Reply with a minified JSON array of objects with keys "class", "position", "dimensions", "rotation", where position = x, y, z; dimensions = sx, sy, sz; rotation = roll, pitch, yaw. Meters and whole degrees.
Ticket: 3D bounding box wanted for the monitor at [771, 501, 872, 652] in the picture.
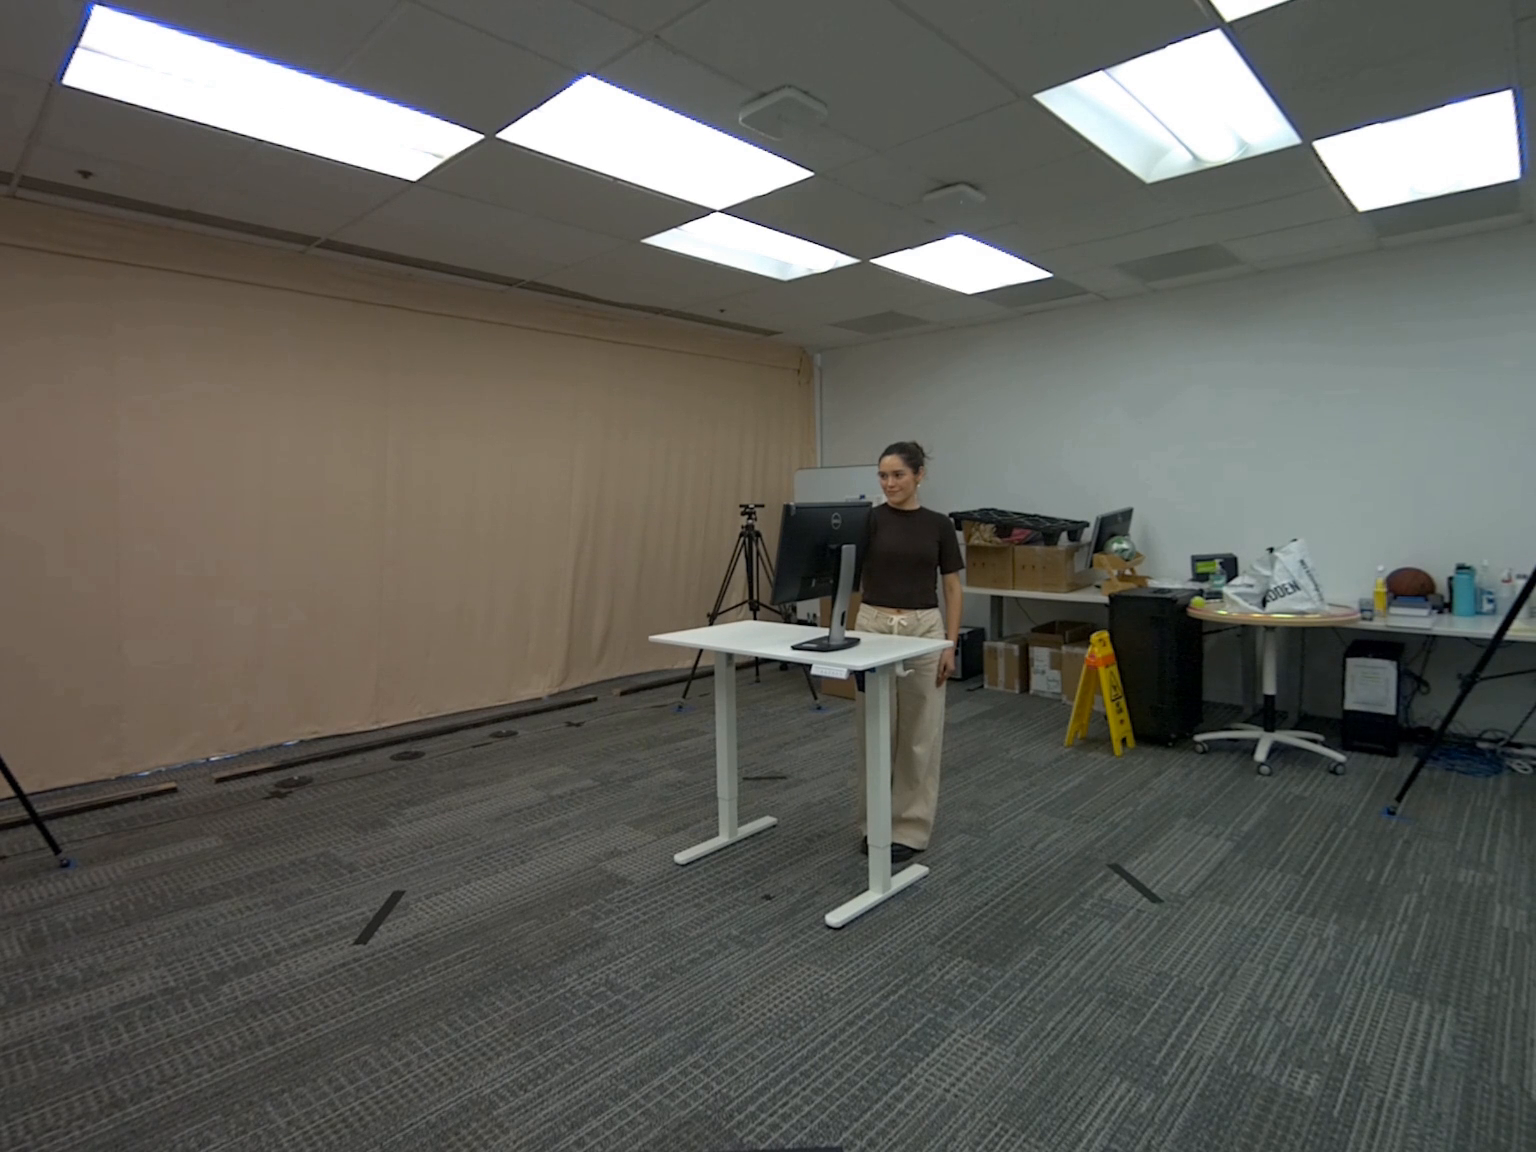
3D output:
[{"class":"monitor","position":[0.220,0.002,2.988],"dimensions":[0.193,0.521,0.523],"rotation":[1,5,39]}]
